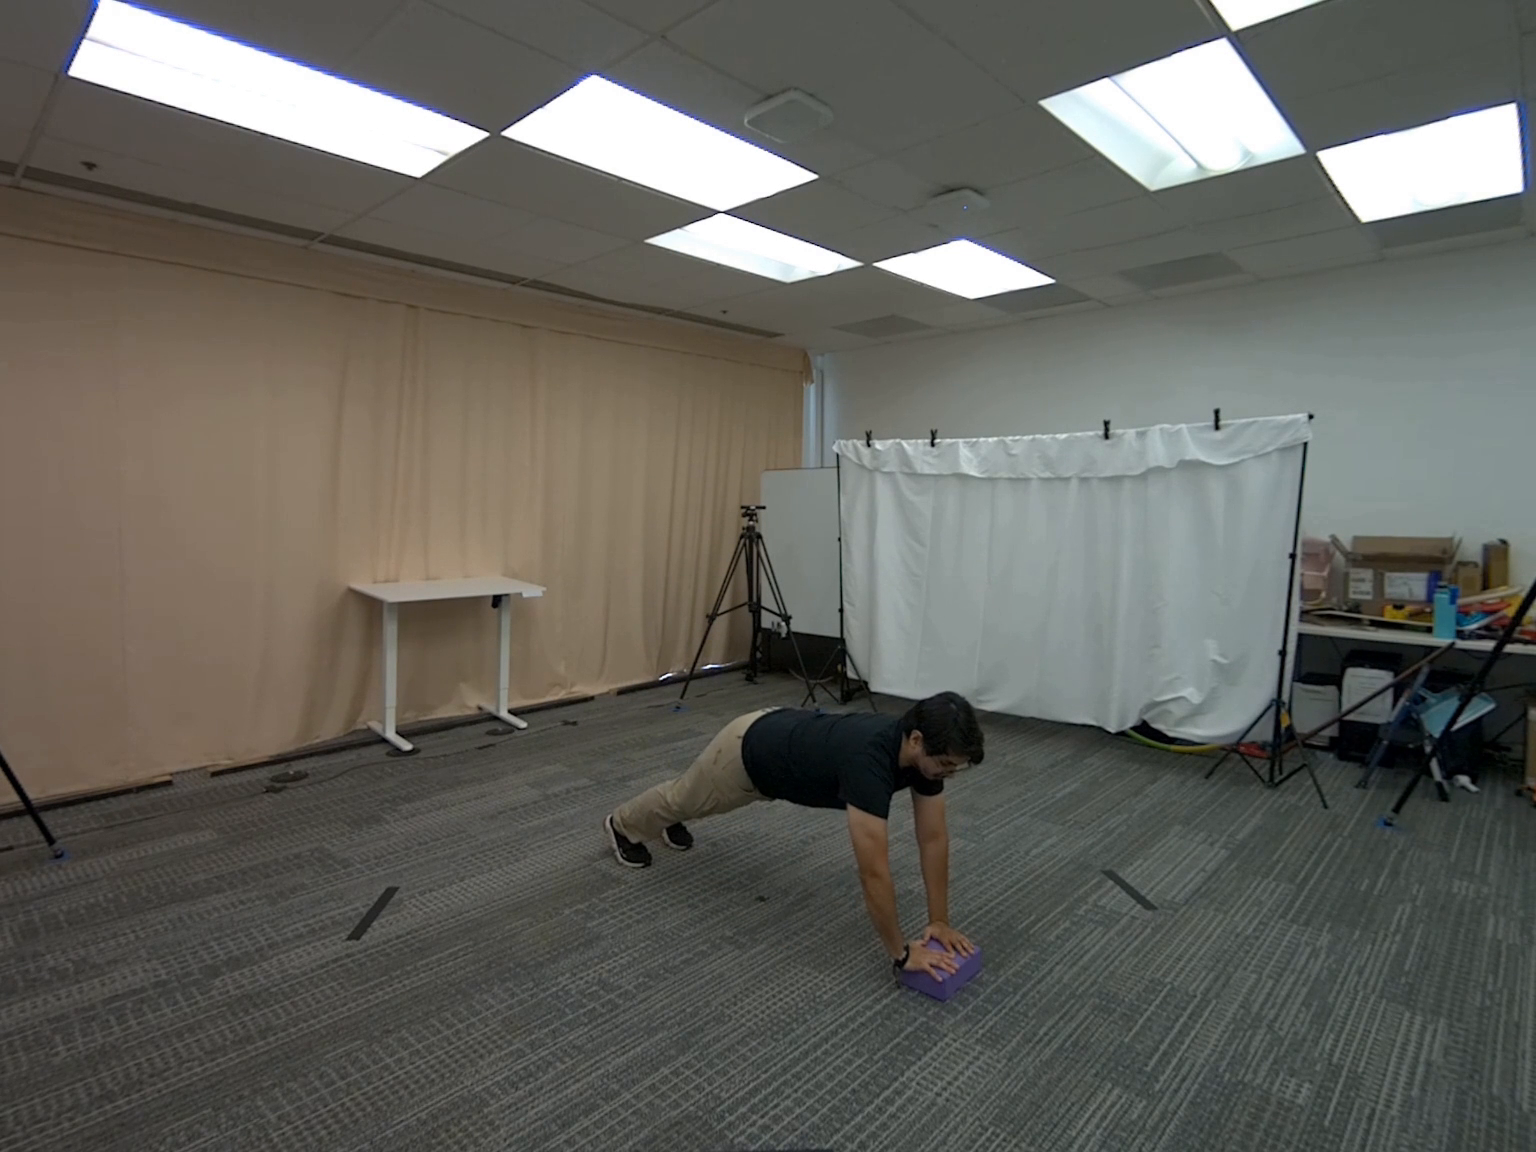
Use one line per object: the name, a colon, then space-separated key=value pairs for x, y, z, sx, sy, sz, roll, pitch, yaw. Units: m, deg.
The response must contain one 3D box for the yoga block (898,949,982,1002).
yoga block: x=0.513 y=1.148 z=2.483 sx=0.154 sy=0.076 sz=0.222 roll=7 pitch=7 yaw=41
